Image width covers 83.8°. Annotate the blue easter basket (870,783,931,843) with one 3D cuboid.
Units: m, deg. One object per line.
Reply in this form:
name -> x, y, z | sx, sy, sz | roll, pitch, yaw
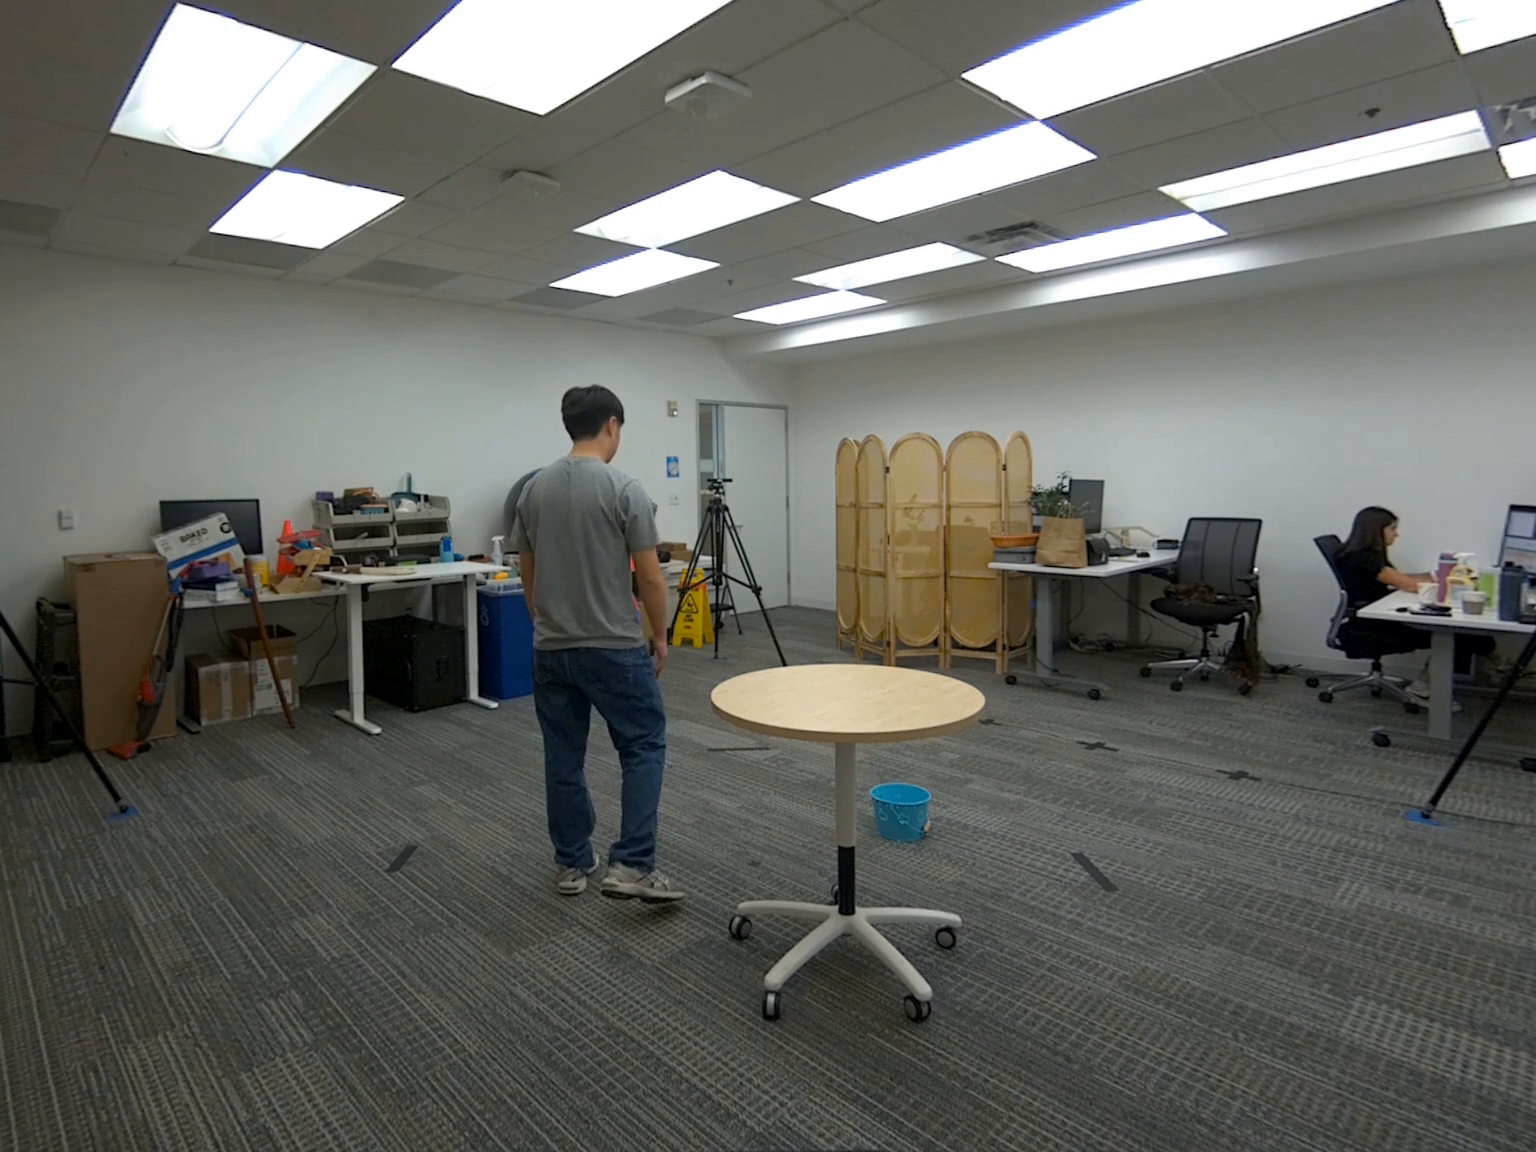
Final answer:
blue easter basket -> 0.528, 0.930, 3.356 | 0.243, 0.155, 0.245 | -2, 4, -2
